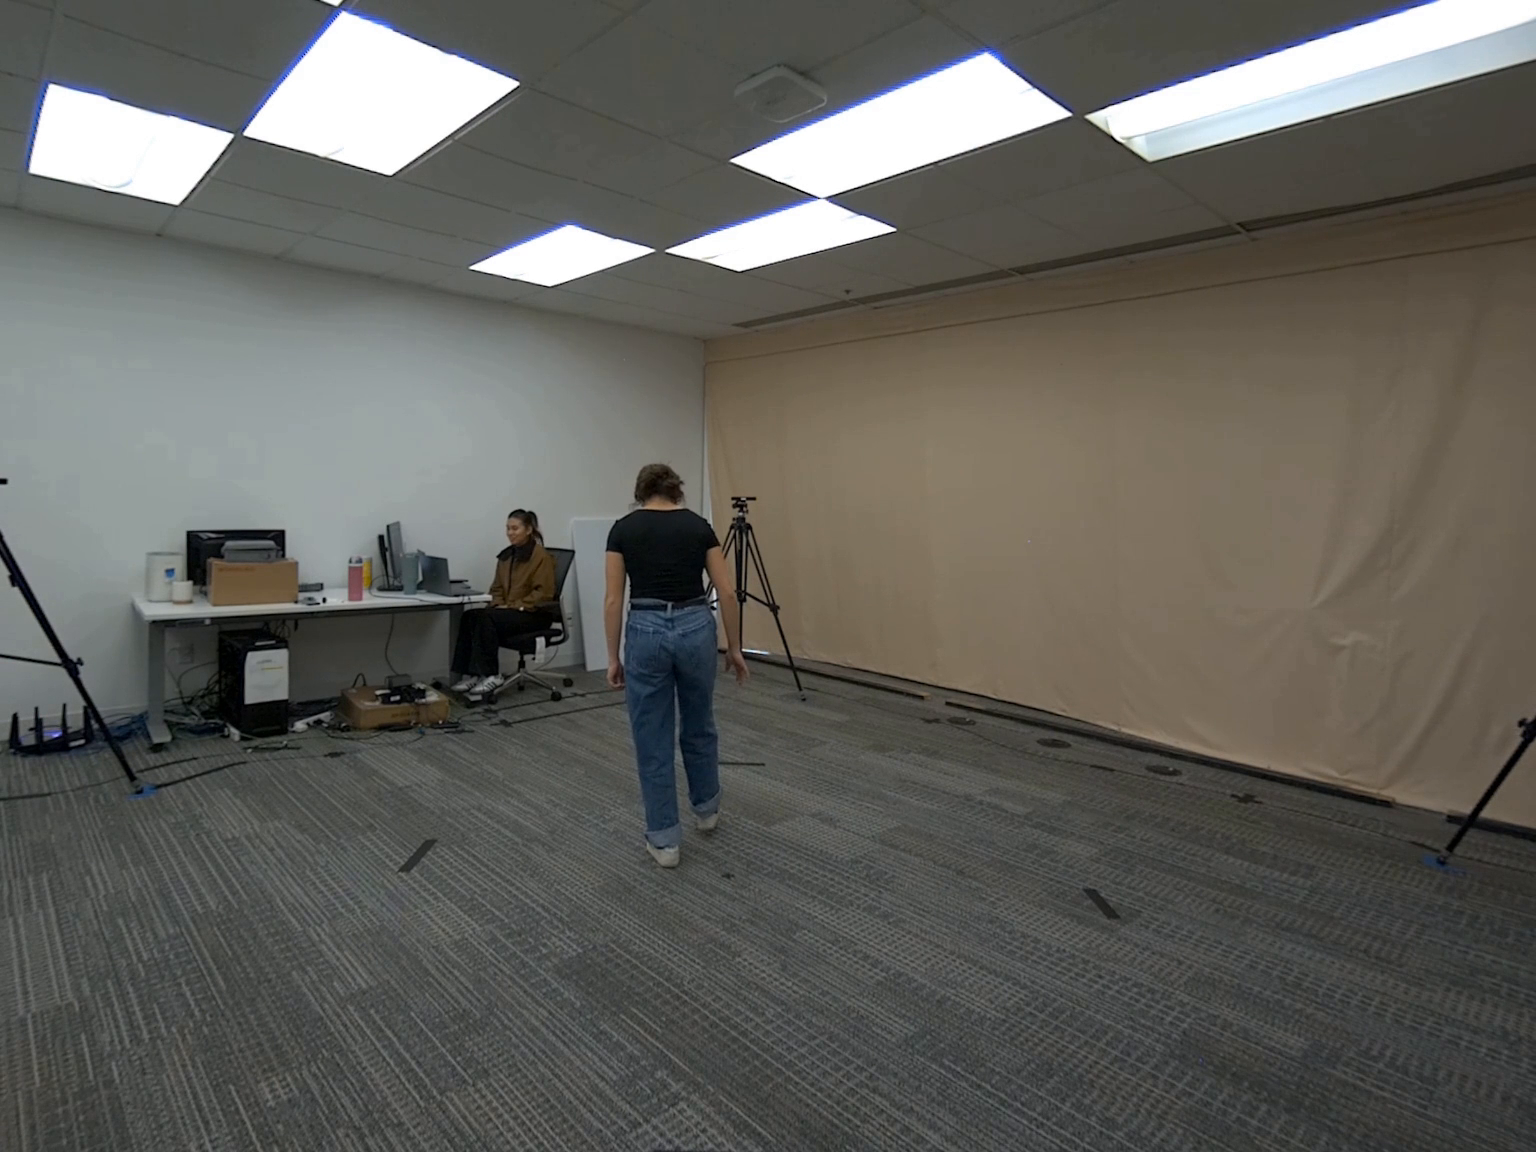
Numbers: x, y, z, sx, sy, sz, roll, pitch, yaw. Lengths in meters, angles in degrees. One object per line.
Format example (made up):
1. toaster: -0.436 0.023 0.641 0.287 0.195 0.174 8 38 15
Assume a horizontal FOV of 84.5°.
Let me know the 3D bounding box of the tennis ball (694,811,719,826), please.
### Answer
1. tennis ball: -0.266 1.011 3.699 0.066 0.066 0.067 1 4 -1
